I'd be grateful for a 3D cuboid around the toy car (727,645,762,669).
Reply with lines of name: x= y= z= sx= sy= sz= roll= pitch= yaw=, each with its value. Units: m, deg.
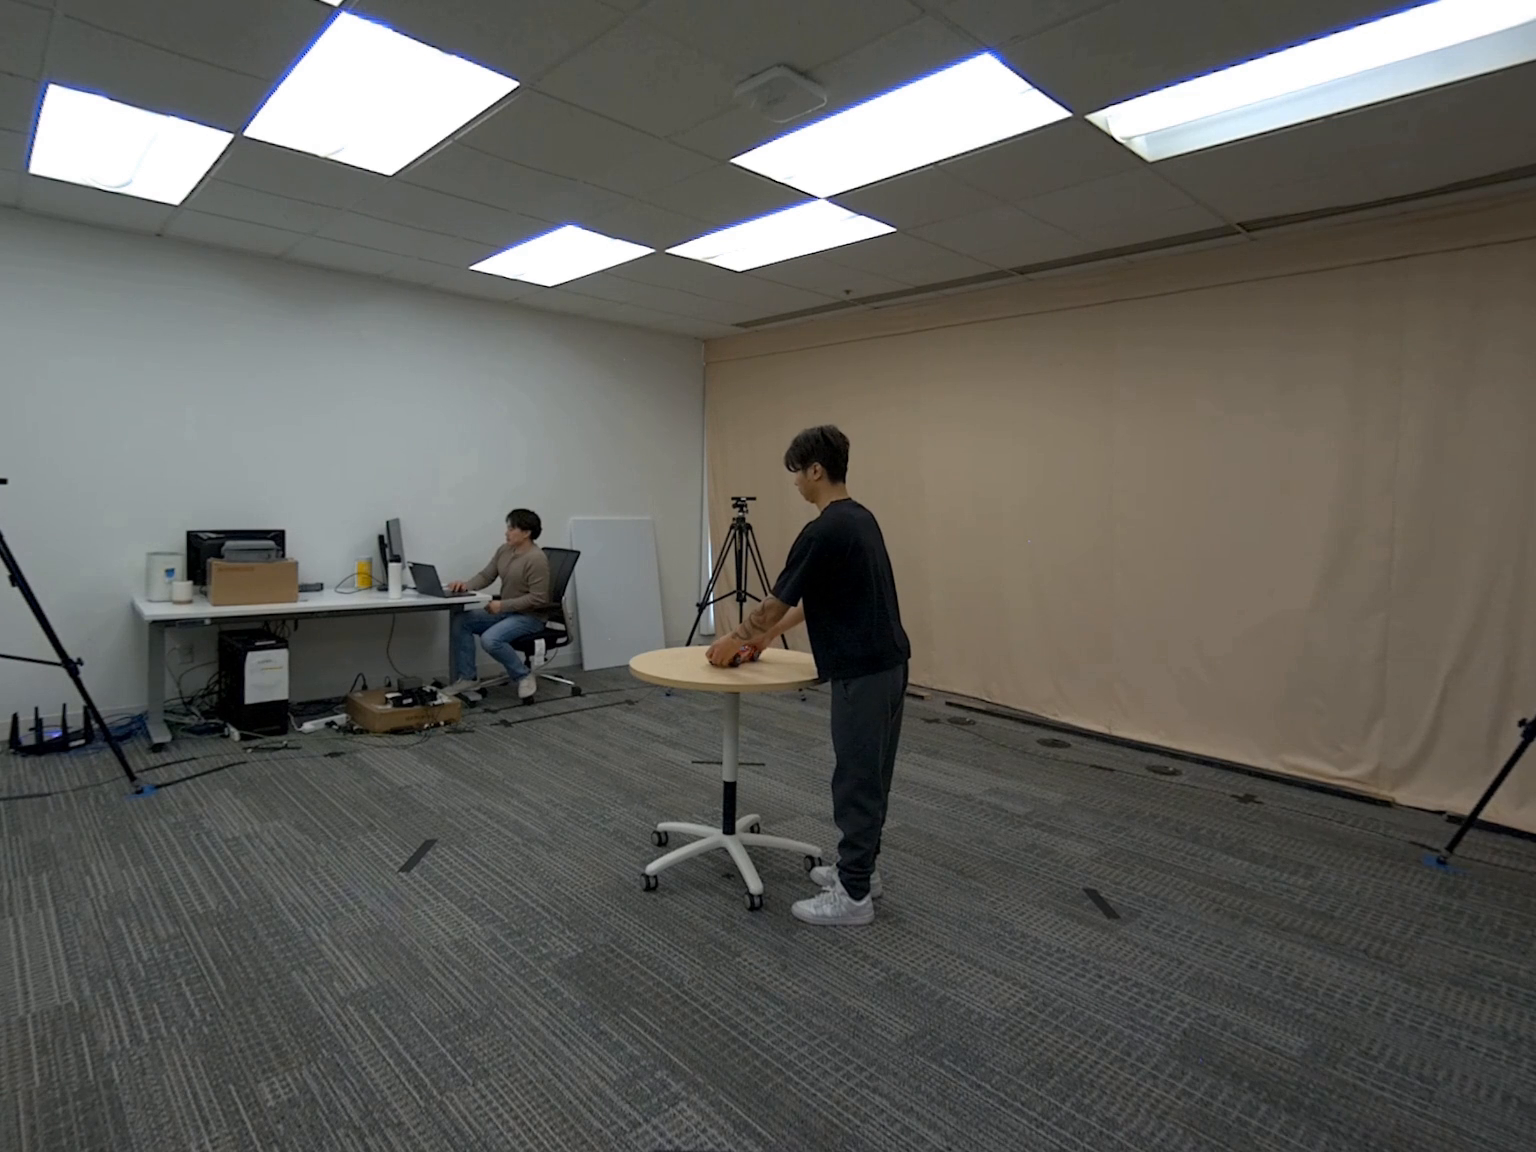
toy car: x=-0.141 y=0.293 z=3.109 sx=0.133 sy=0.083 sz=0.248 roll=3 pitch=-6 yaw=28
